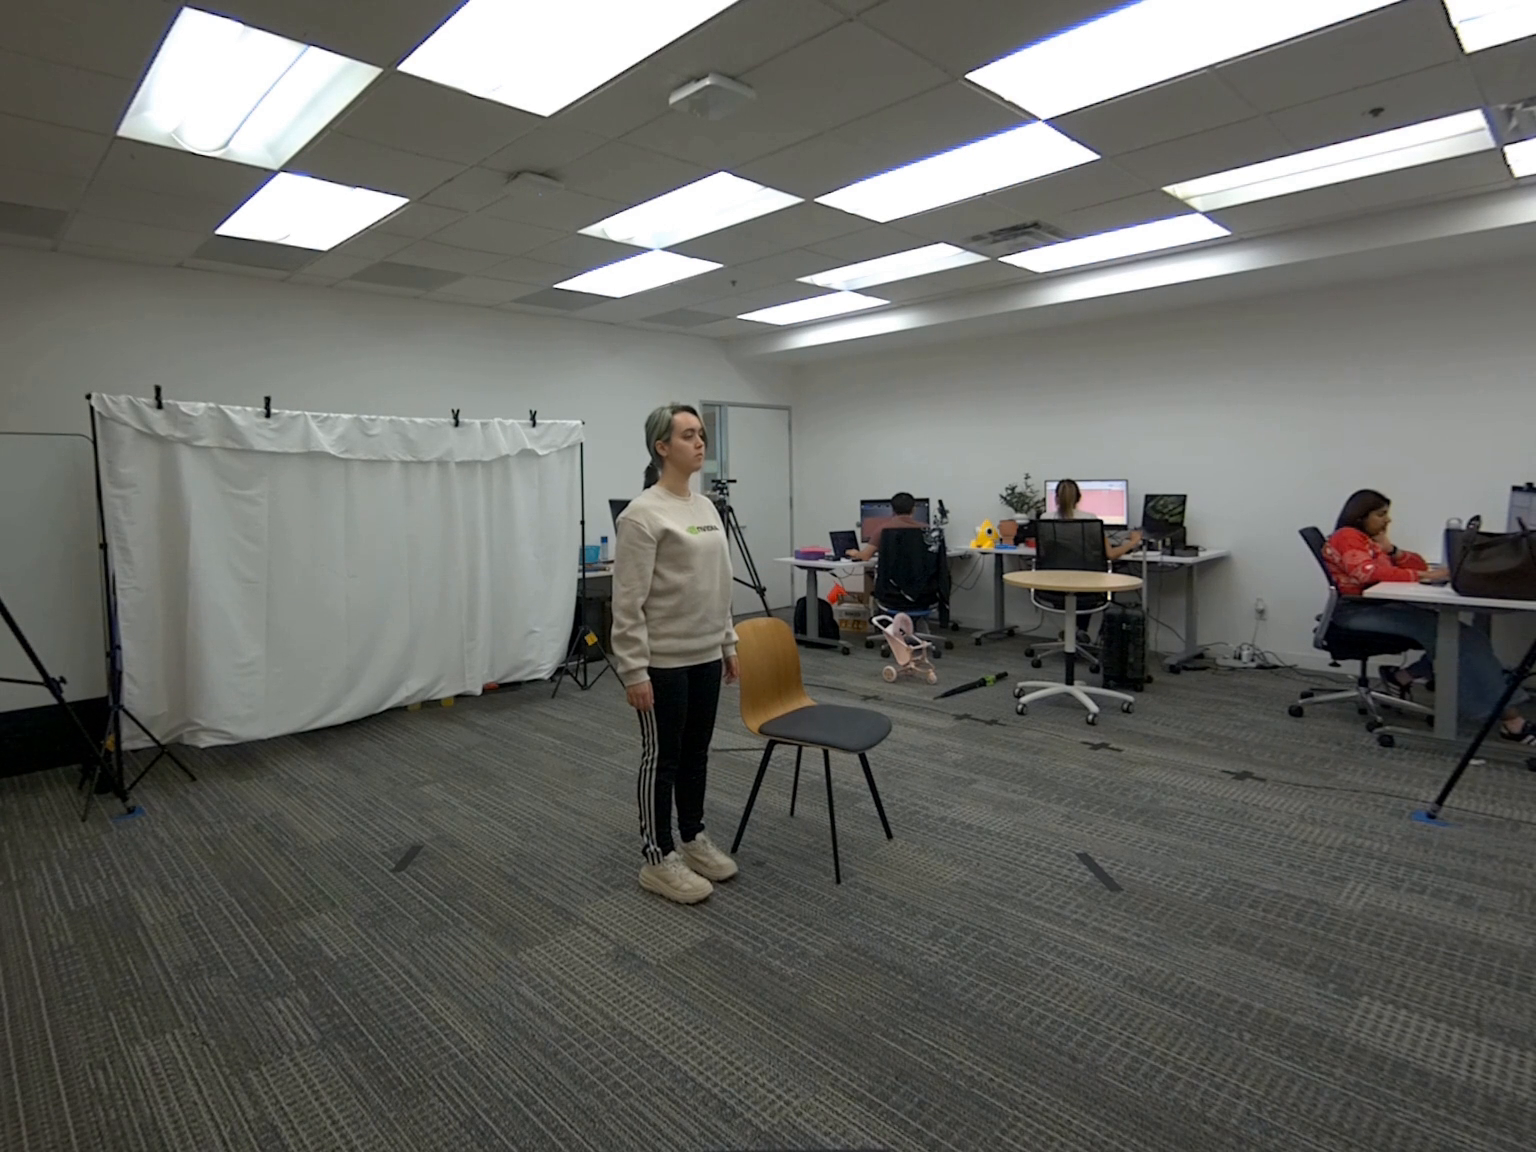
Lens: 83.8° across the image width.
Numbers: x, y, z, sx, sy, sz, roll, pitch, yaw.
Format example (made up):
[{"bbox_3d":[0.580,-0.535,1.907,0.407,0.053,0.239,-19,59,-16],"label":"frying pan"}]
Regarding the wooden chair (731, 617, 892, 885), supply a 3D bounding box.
[{"bbox_3d":[0.174,0.603,3.214,0.537,0.876,0.466,-3,2,34],"label":"wooden chair"}]
